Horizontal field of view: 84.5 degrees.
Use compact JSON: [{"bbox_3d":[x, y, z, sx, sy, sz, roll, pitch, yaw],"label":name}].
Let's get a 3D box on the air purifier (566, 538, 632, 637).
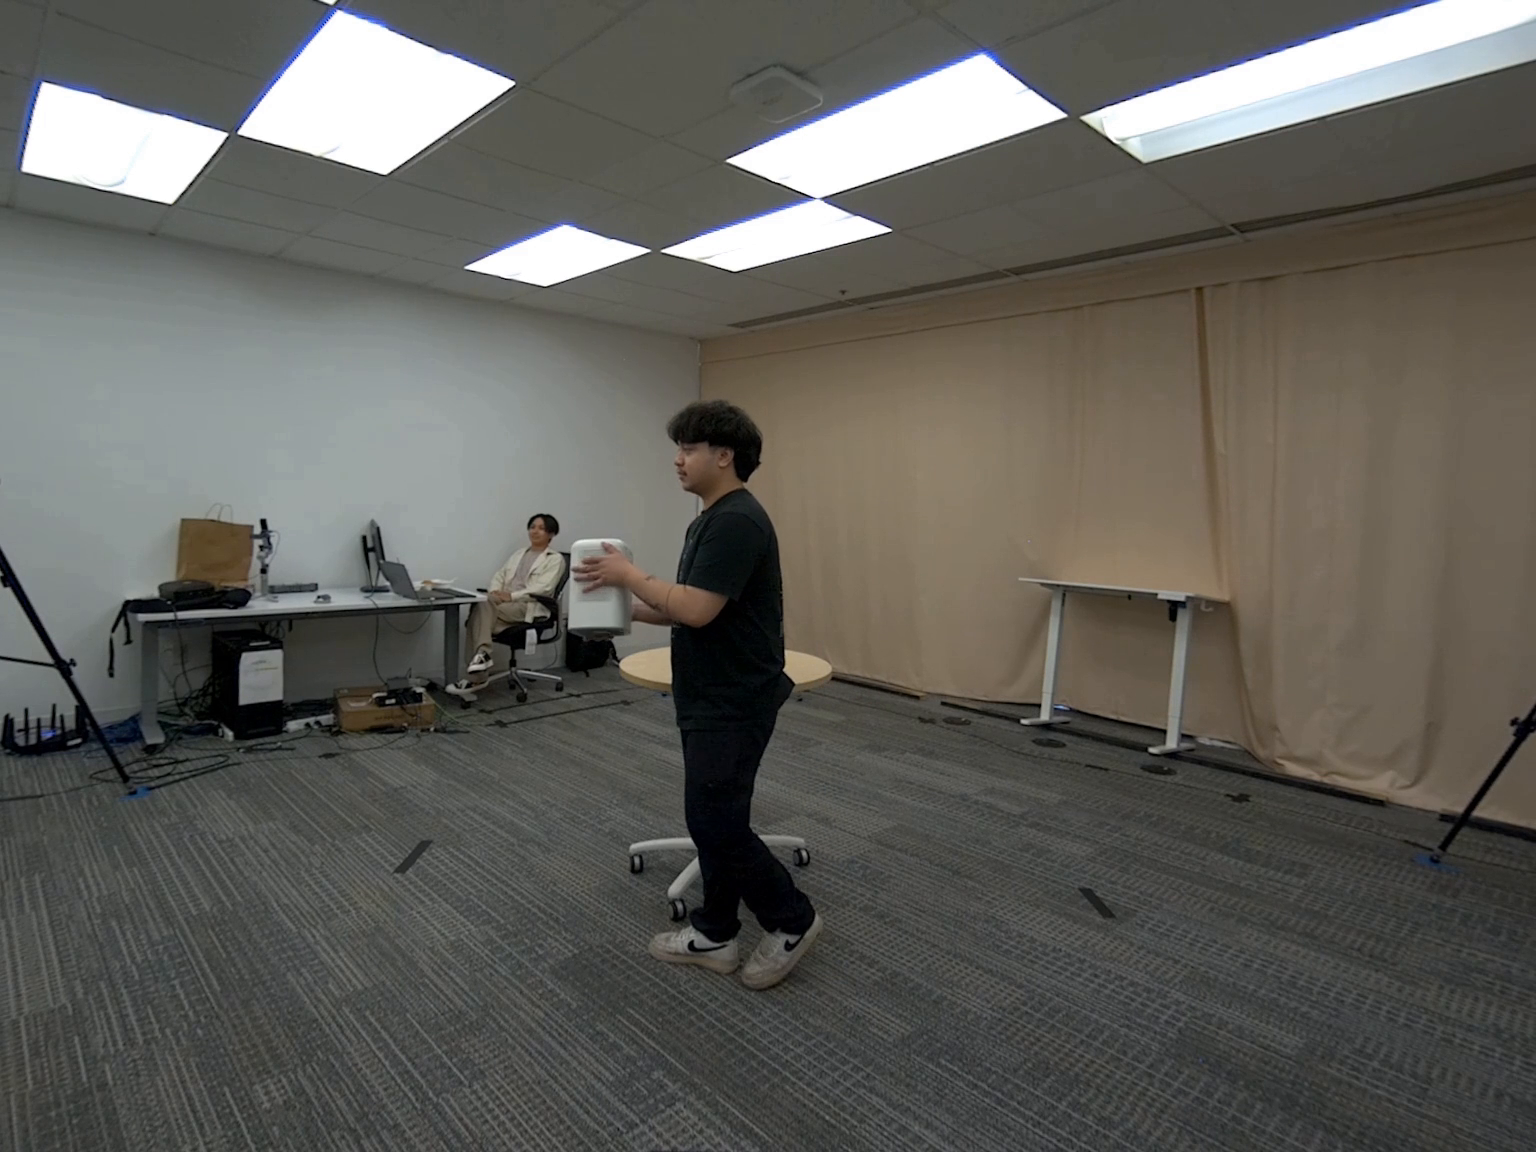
[{"bbox_3d":[-0.483,0.033,2.468,0.172,0.268,0.169,-1,-12,3],"label":"air purifier"}]
